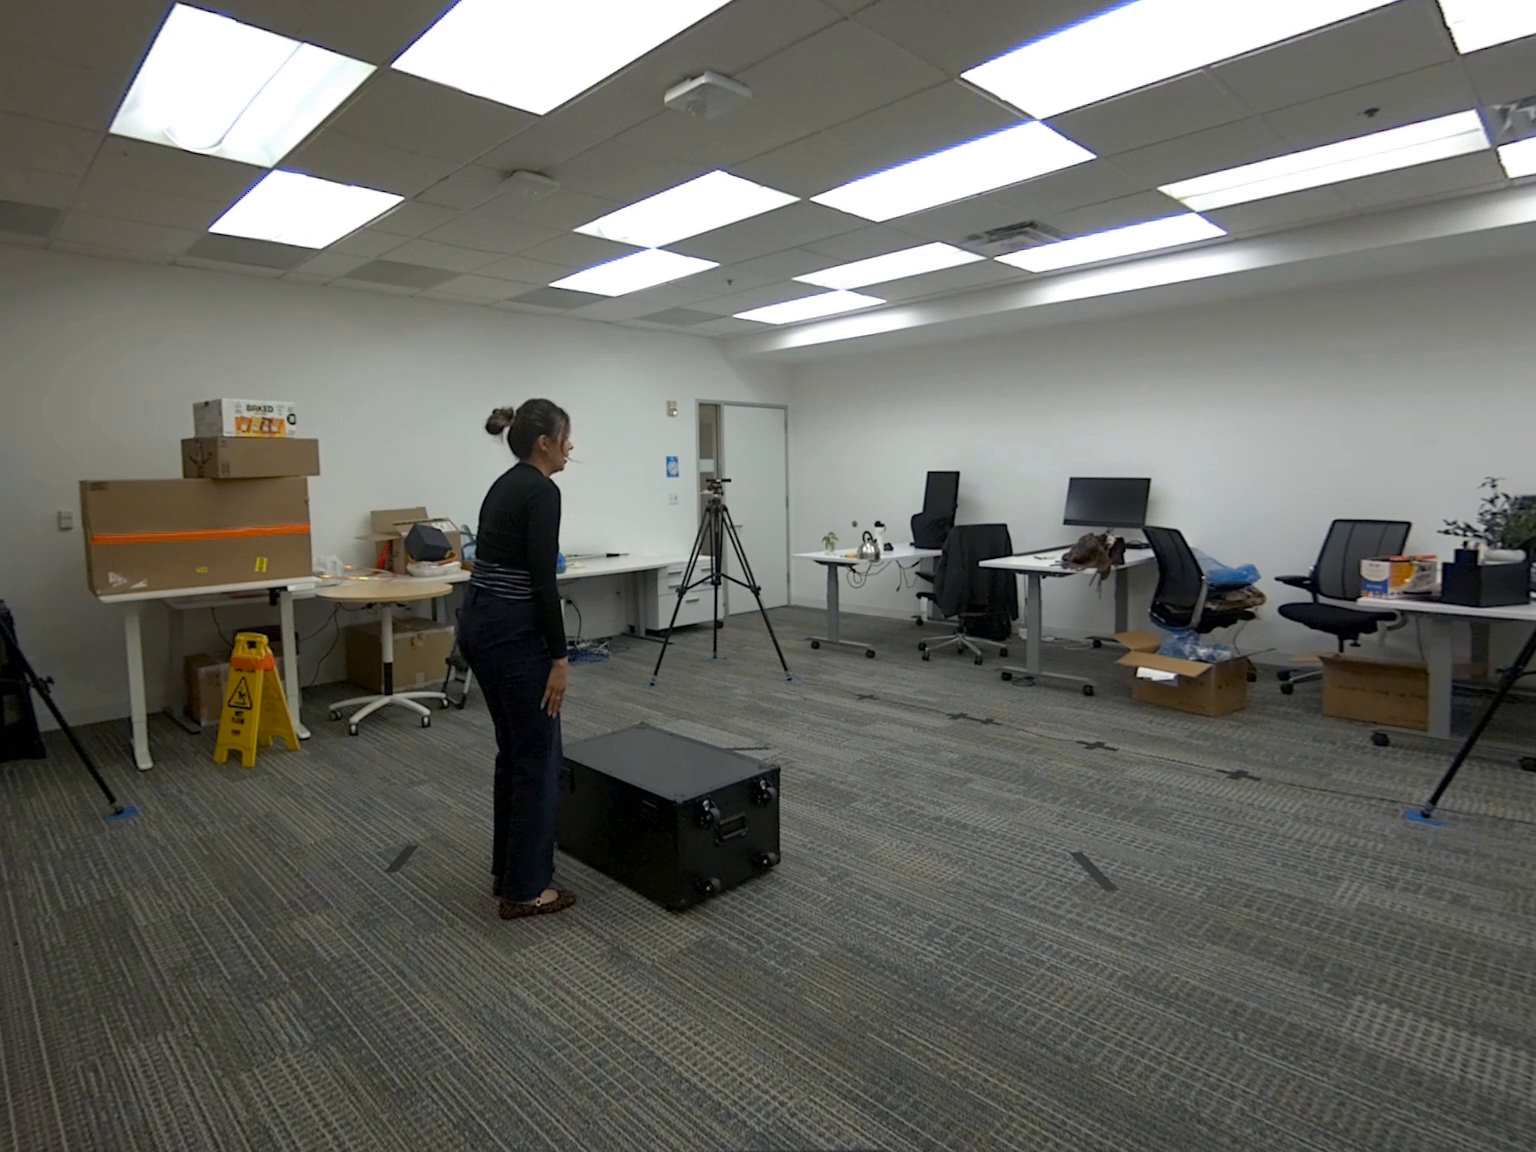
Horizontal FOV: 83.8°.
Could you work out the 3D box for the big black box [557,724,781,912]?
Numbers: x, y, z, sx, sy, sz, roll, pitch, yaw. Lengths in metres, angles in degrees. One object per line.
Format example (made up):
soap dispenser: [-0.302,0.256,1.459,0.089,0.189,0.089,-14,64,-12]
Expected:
big black box: [-0.418,0.851,3.188,0.888,0.394,0.507,5,8,45]
